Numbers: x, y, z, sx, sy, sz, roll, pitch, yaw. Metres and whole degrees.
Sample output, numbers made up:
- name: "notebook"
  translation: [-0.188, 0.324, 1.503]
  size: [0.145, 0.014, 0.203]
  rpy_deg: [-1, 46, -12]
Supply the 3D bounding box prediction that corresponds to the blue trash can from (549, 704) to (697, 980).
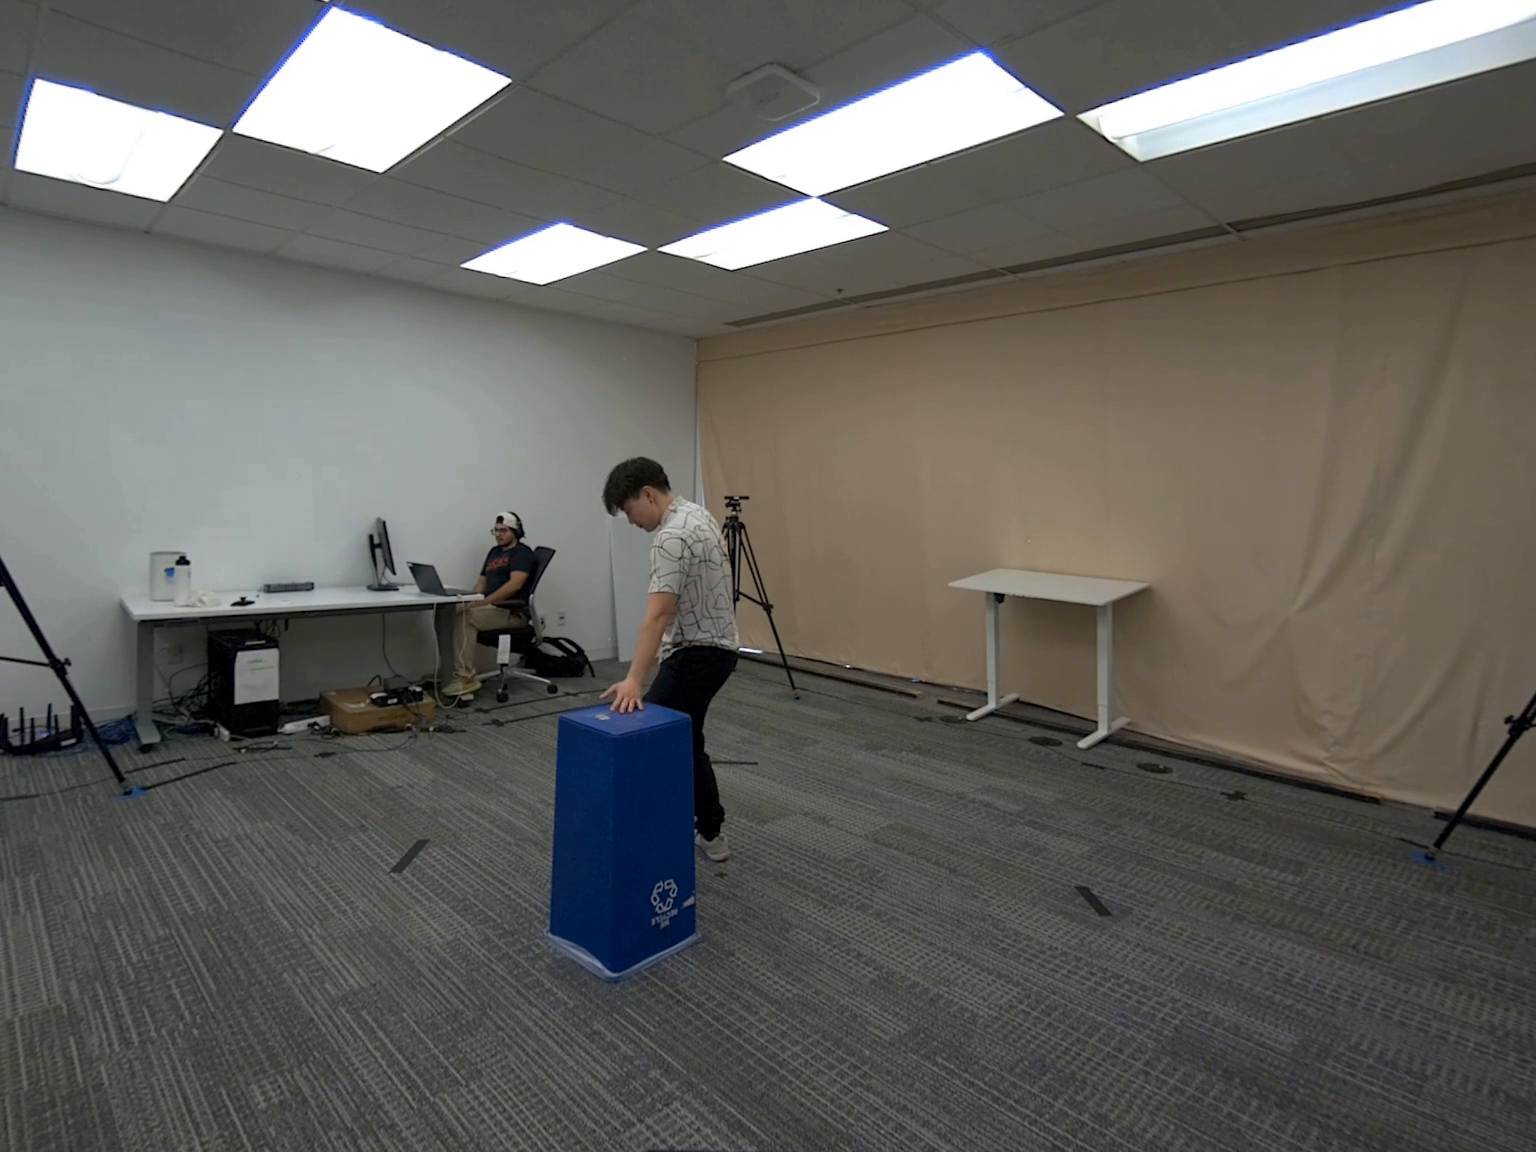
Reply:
- name: "blue trash can"
  translation: [-0.466, 0.789, 2.620]
  size: [0.387, 0.711, 0.366]
  rpy_deg: [4, 5, 43]
